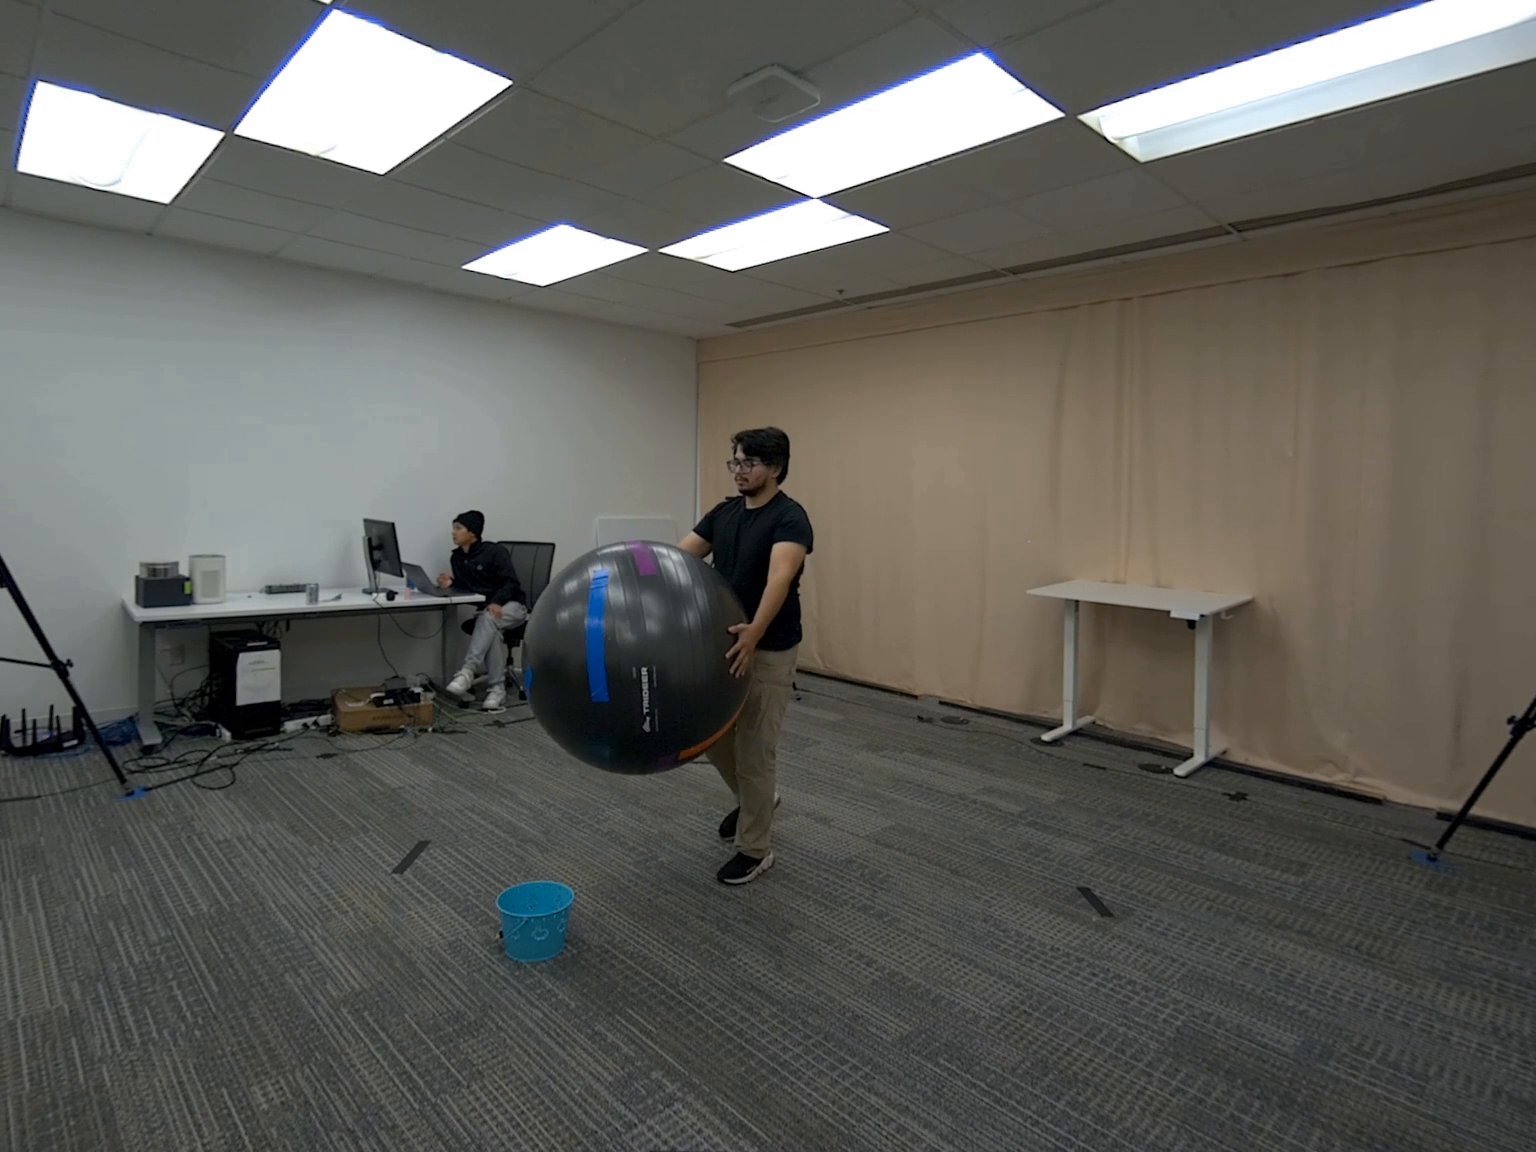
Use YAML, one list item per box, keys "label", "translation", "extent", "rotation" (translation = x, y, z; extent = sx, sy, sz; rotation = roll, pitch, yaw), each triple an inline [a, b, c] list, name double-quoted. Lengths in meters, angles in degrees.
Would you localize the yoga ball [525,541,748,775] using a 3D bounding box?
- label: "yoga ball"
  translation: [-0.435, 0.268, 2.771]
  extent: [0.757, 0.756, 0.761]
  rotation: [1, 4, -1]
